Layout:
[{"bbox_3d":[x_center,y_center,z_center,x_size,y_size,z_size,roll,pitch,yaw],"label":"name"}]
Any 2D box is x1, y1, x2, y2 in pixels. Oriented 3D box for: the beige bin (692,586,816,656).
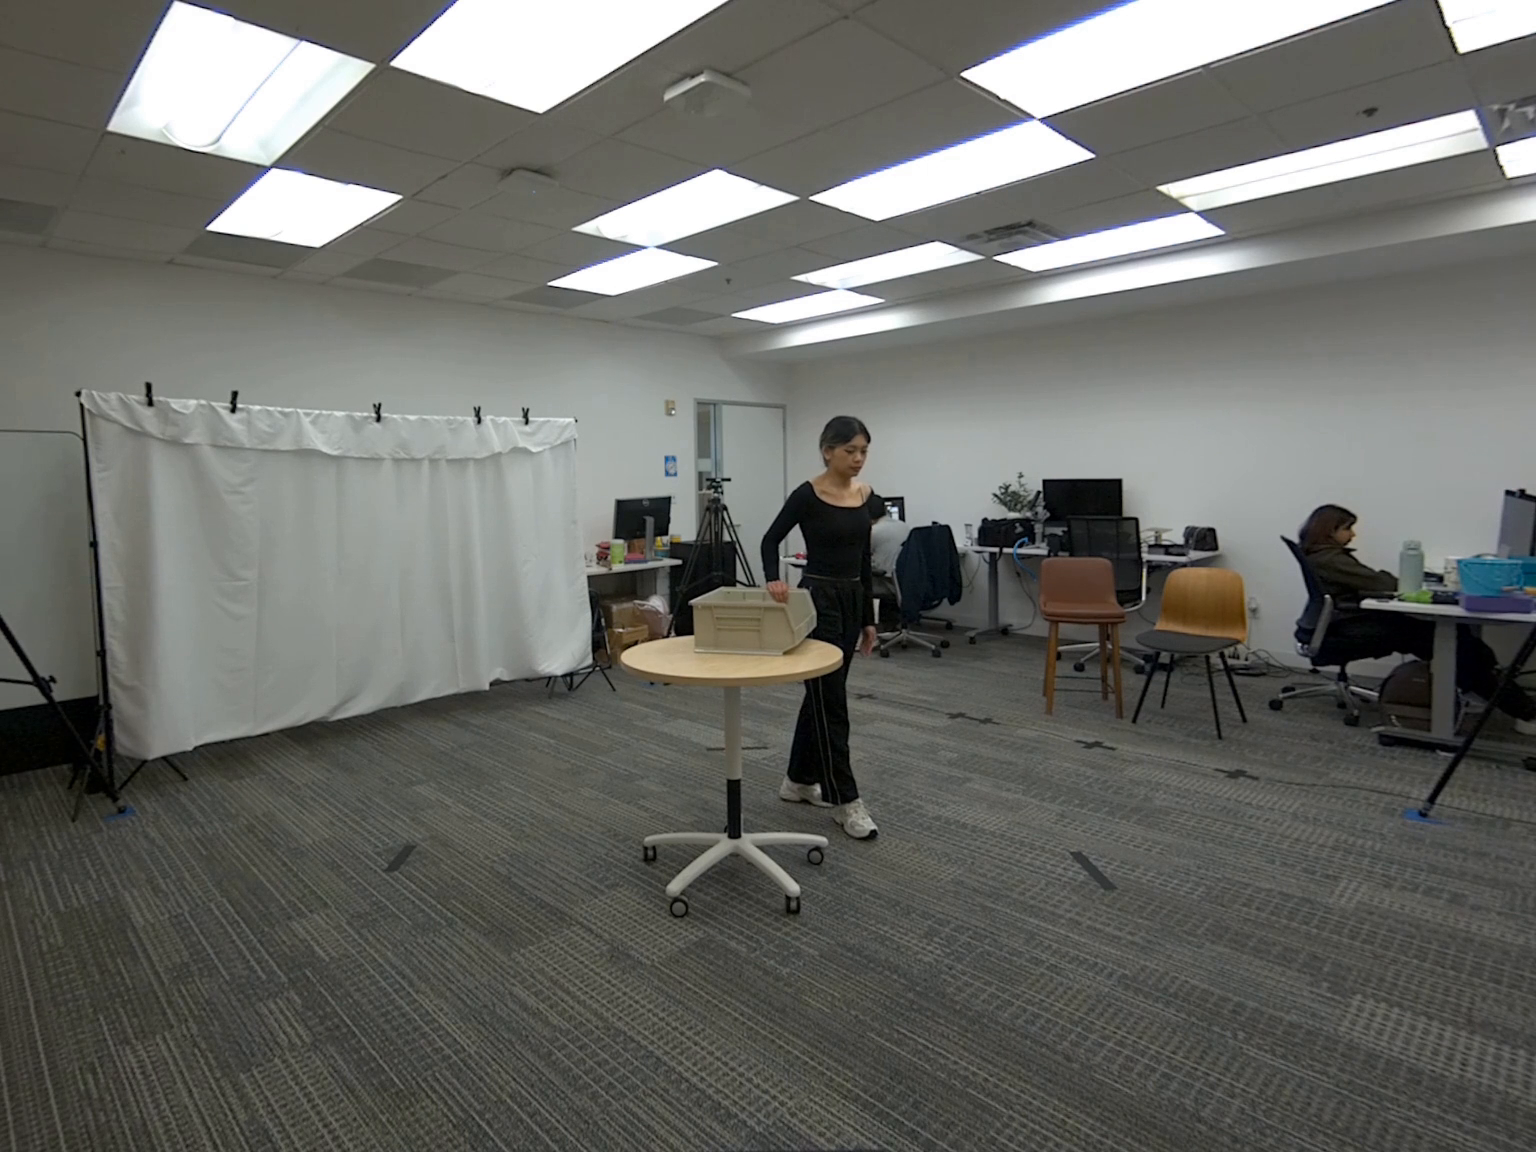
[{"bbox_3d":[-0.041,0.159,3.128,0.382,0.188,0.419,0,6,13],"label":"beige bin"}]
